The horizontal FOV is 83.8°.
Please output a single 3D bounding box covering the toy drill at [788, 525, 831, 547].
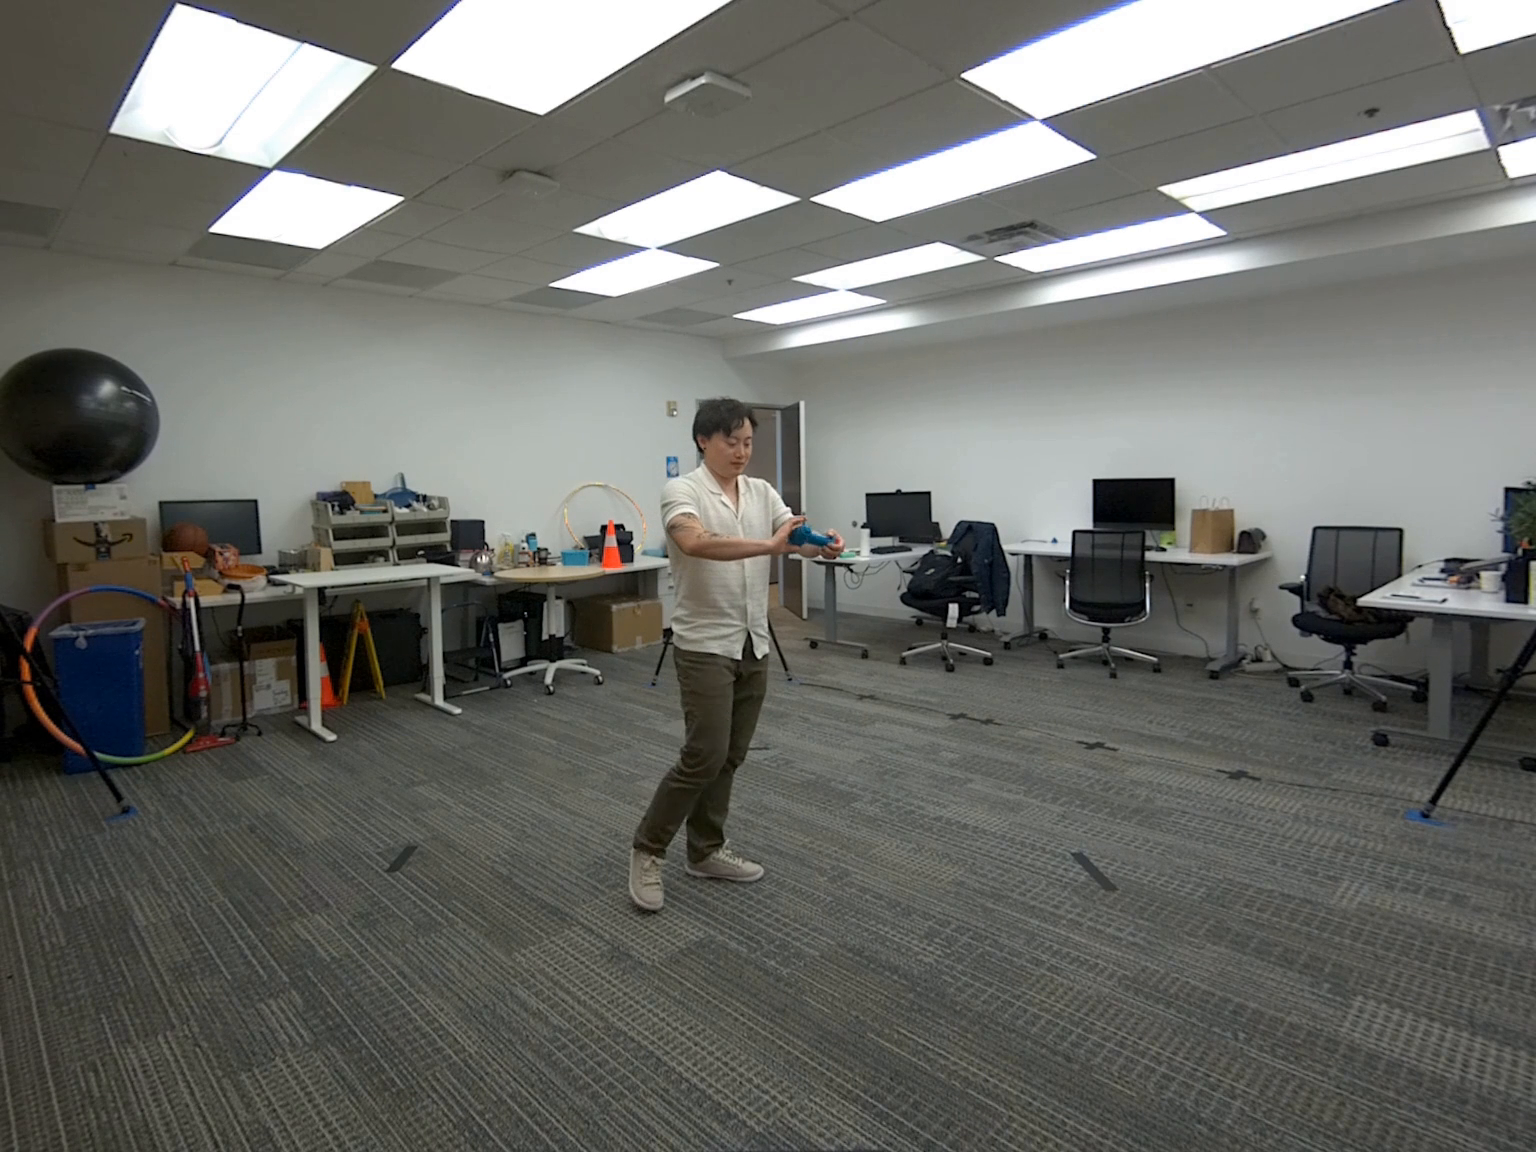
[{"bbox_3d":[0.119,-0.107,2.710,0.144,0.062,0.169,17,-19,-10],"label":"toy drill"}]
